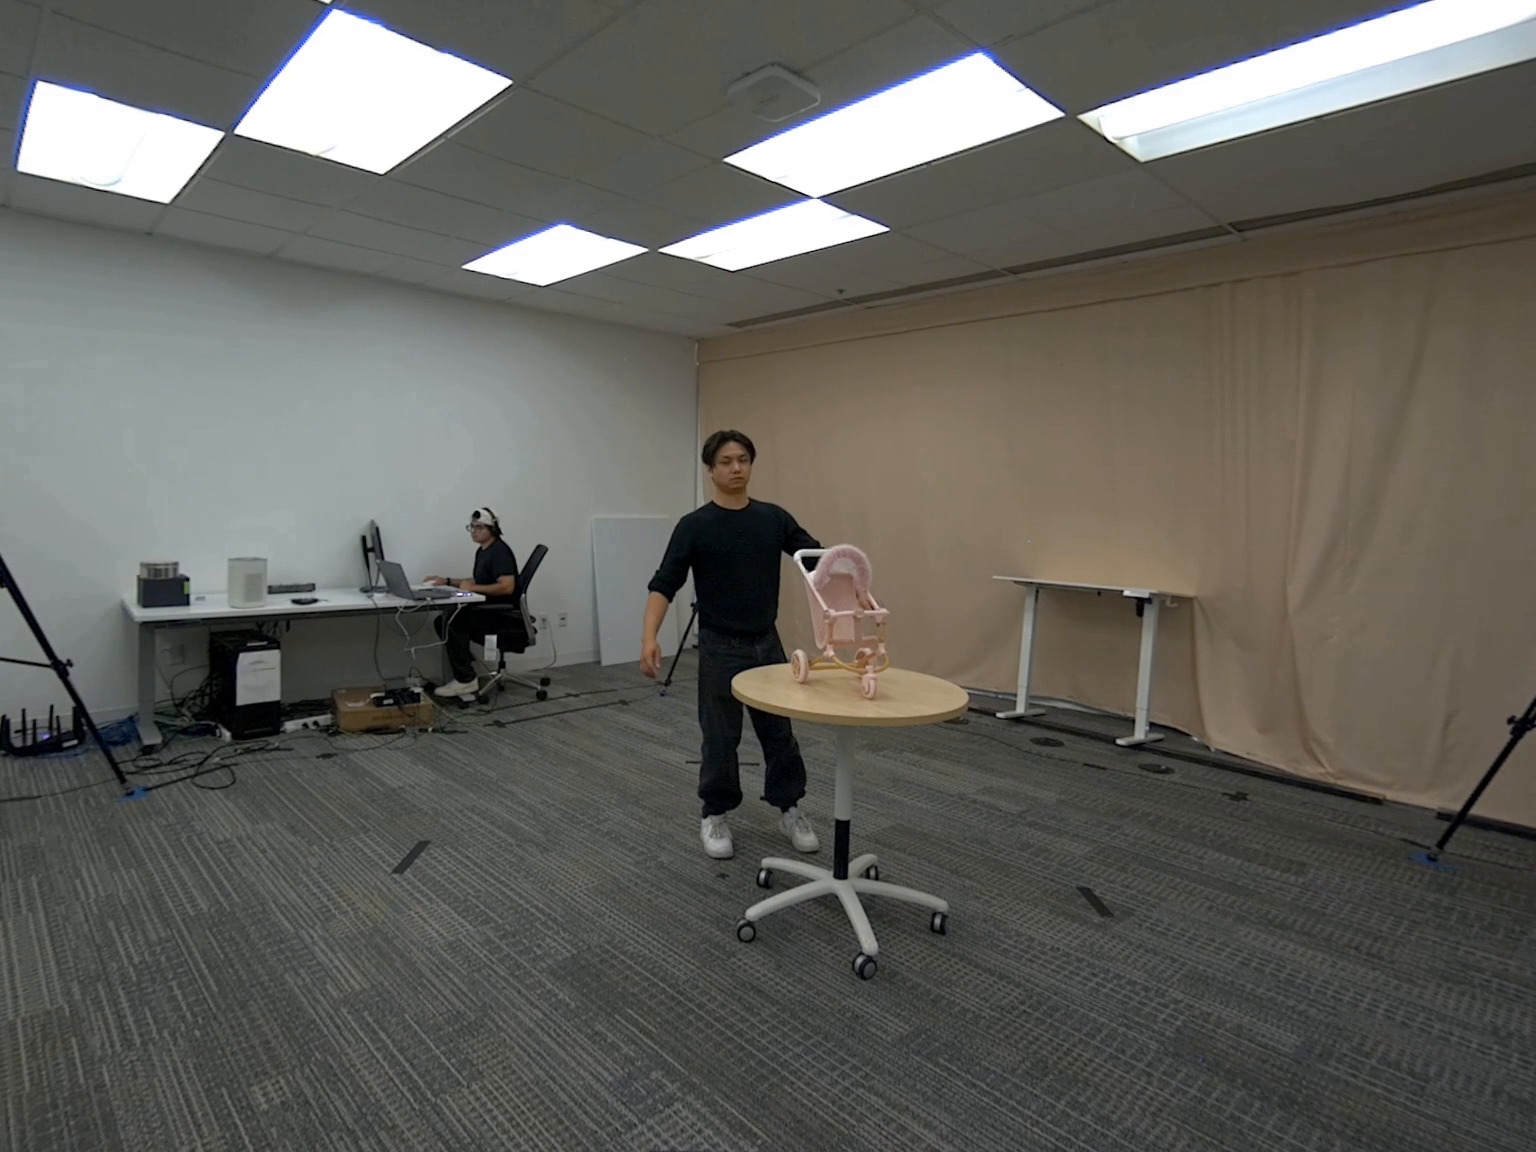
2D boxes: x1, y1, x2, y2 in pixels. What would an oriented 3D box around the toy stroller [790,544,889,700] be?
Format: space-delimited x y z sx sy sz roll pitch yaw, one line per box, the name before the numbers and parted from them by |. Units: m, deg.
toy stroller | 0.245 0.141 2.755 0.278 0.540 0.343 1 -12 -18
